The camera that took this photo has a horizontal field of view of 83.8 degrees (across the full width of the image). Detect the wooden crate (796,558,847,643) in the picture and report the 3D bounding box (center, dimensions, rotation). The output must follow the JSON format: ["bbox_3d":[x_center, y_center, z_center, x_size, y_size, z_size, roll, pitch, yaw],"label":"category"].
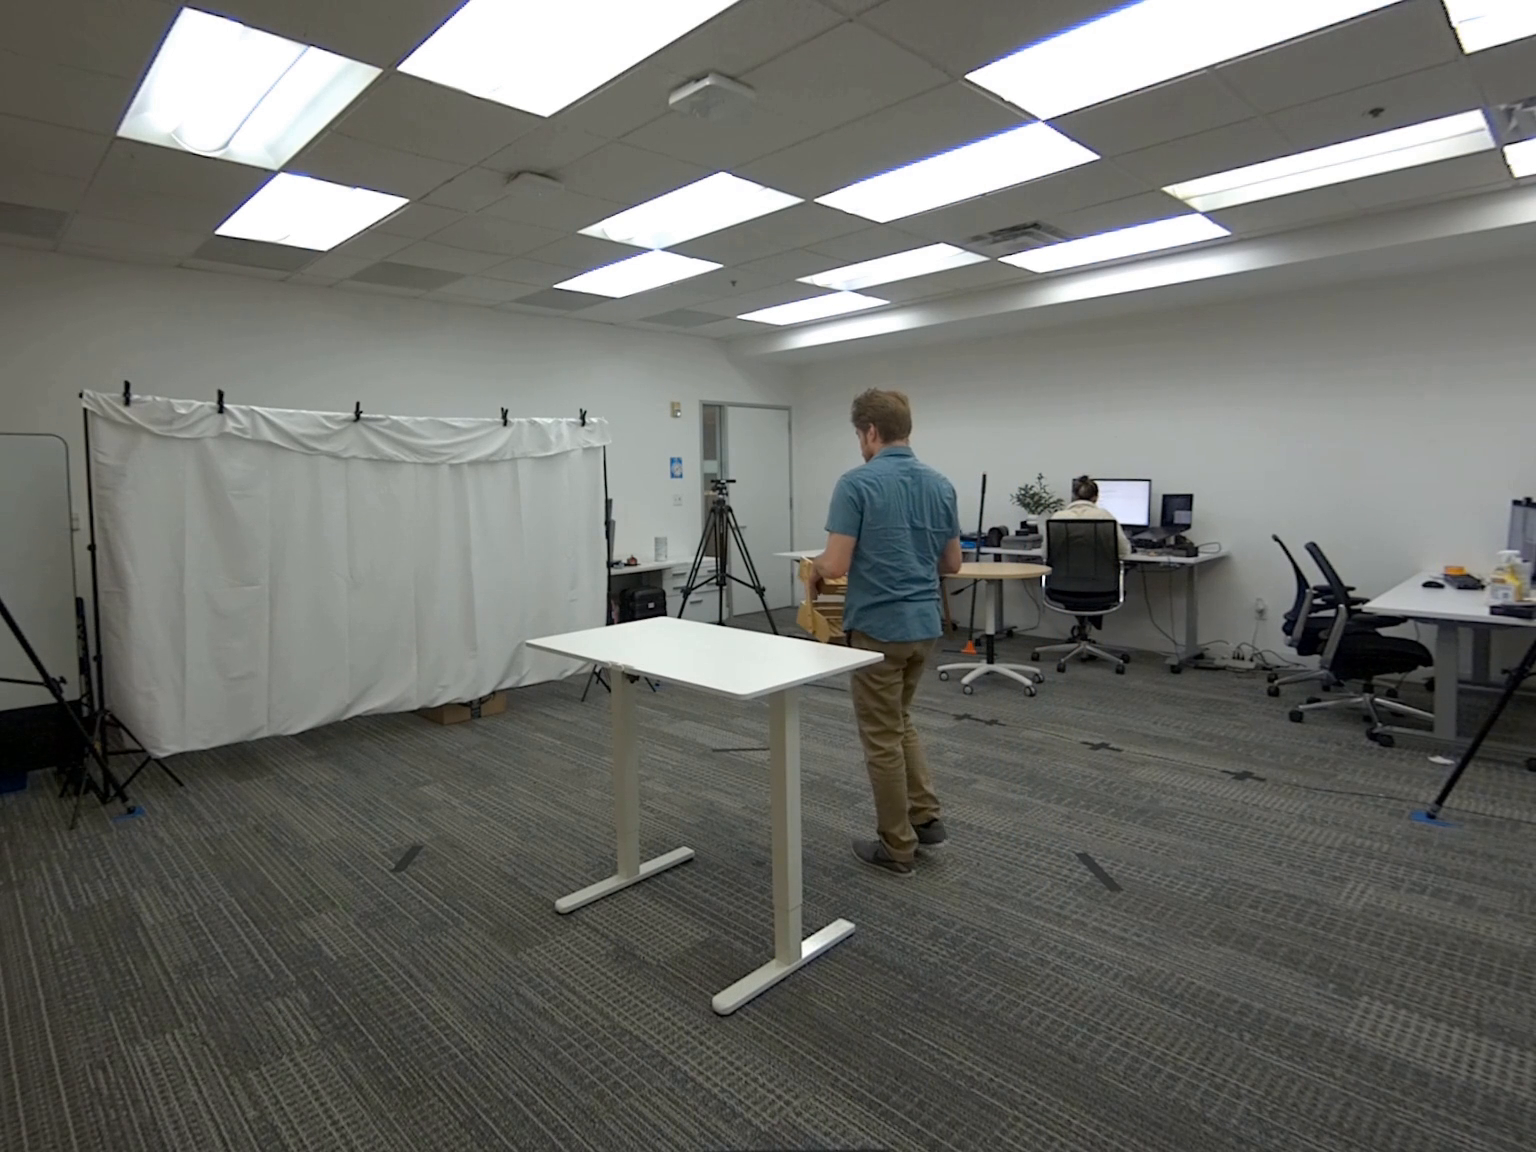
[{"bbox_3d":[0.311,0.093,3.308,0.317,0.270,0.312,1,16,-27],"label":"wooden crate"}]
